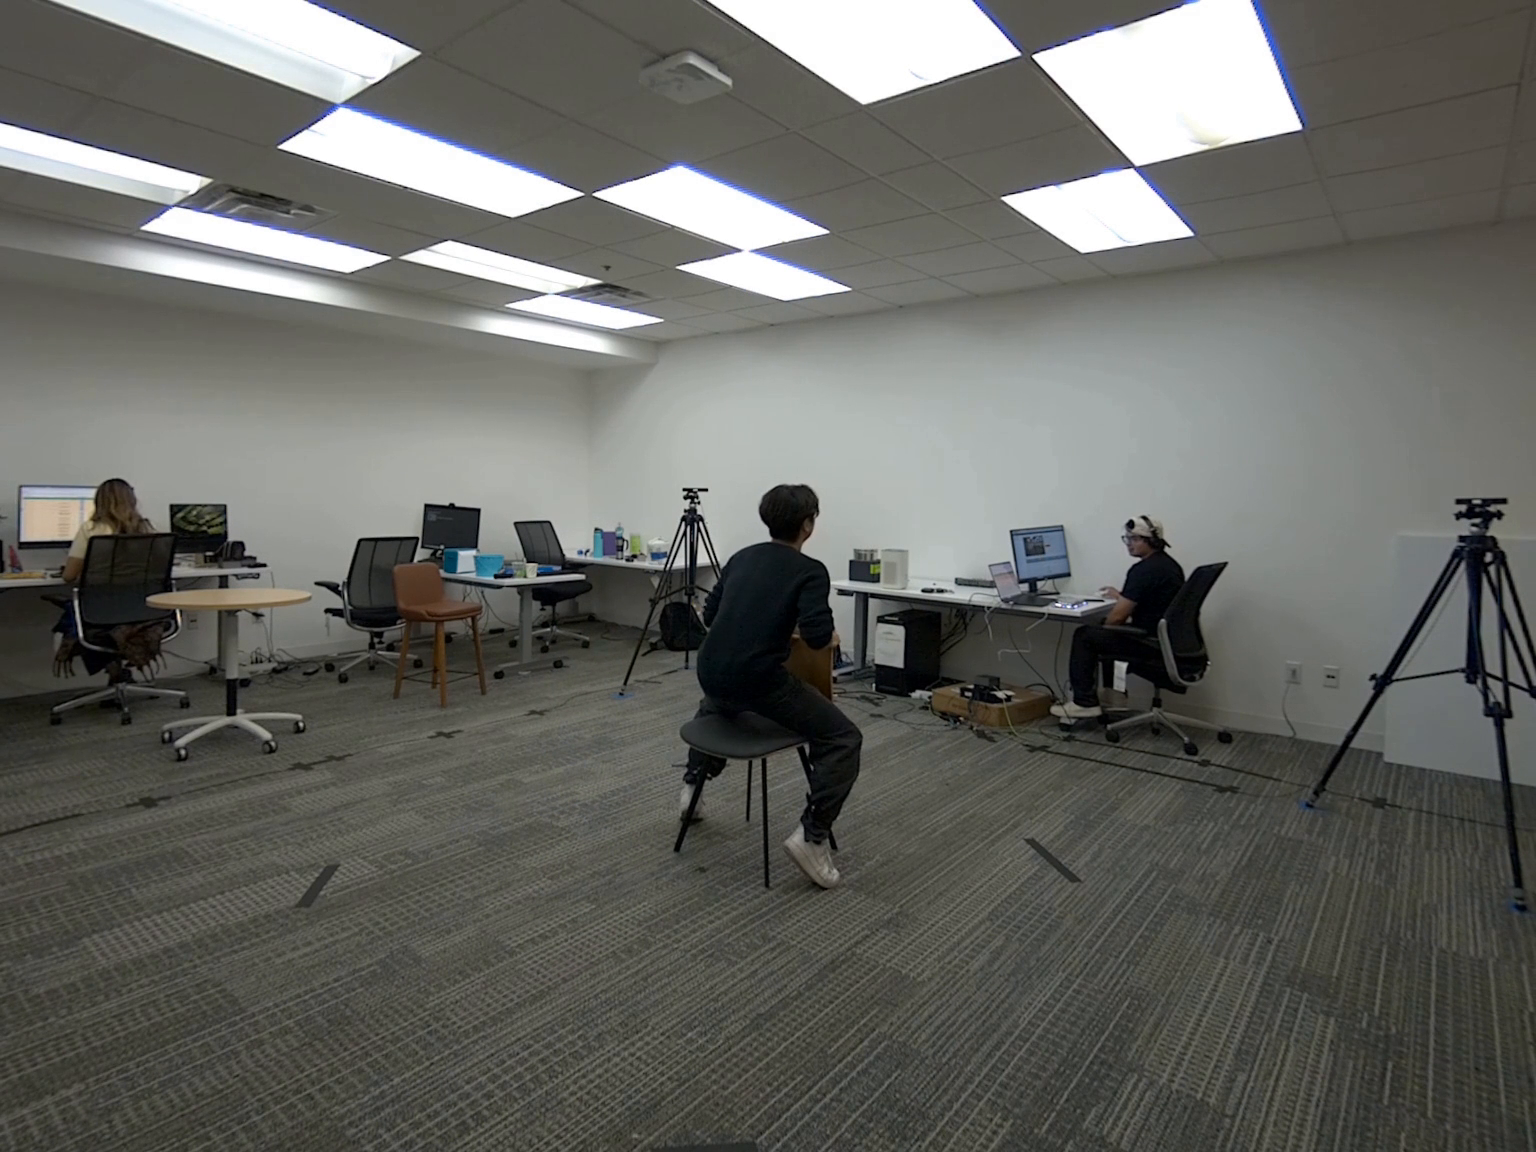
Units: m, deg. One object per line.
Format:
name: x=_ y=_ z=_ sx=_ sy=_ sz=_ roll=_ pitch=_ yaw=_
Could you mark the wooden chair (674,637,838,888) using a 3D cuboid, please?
wooden chair: x=-0.052 y=0.630 z=3.246 sx=0.494 sy=0.878 sz=0.506 roll=4 pitch=0 yaw=38
